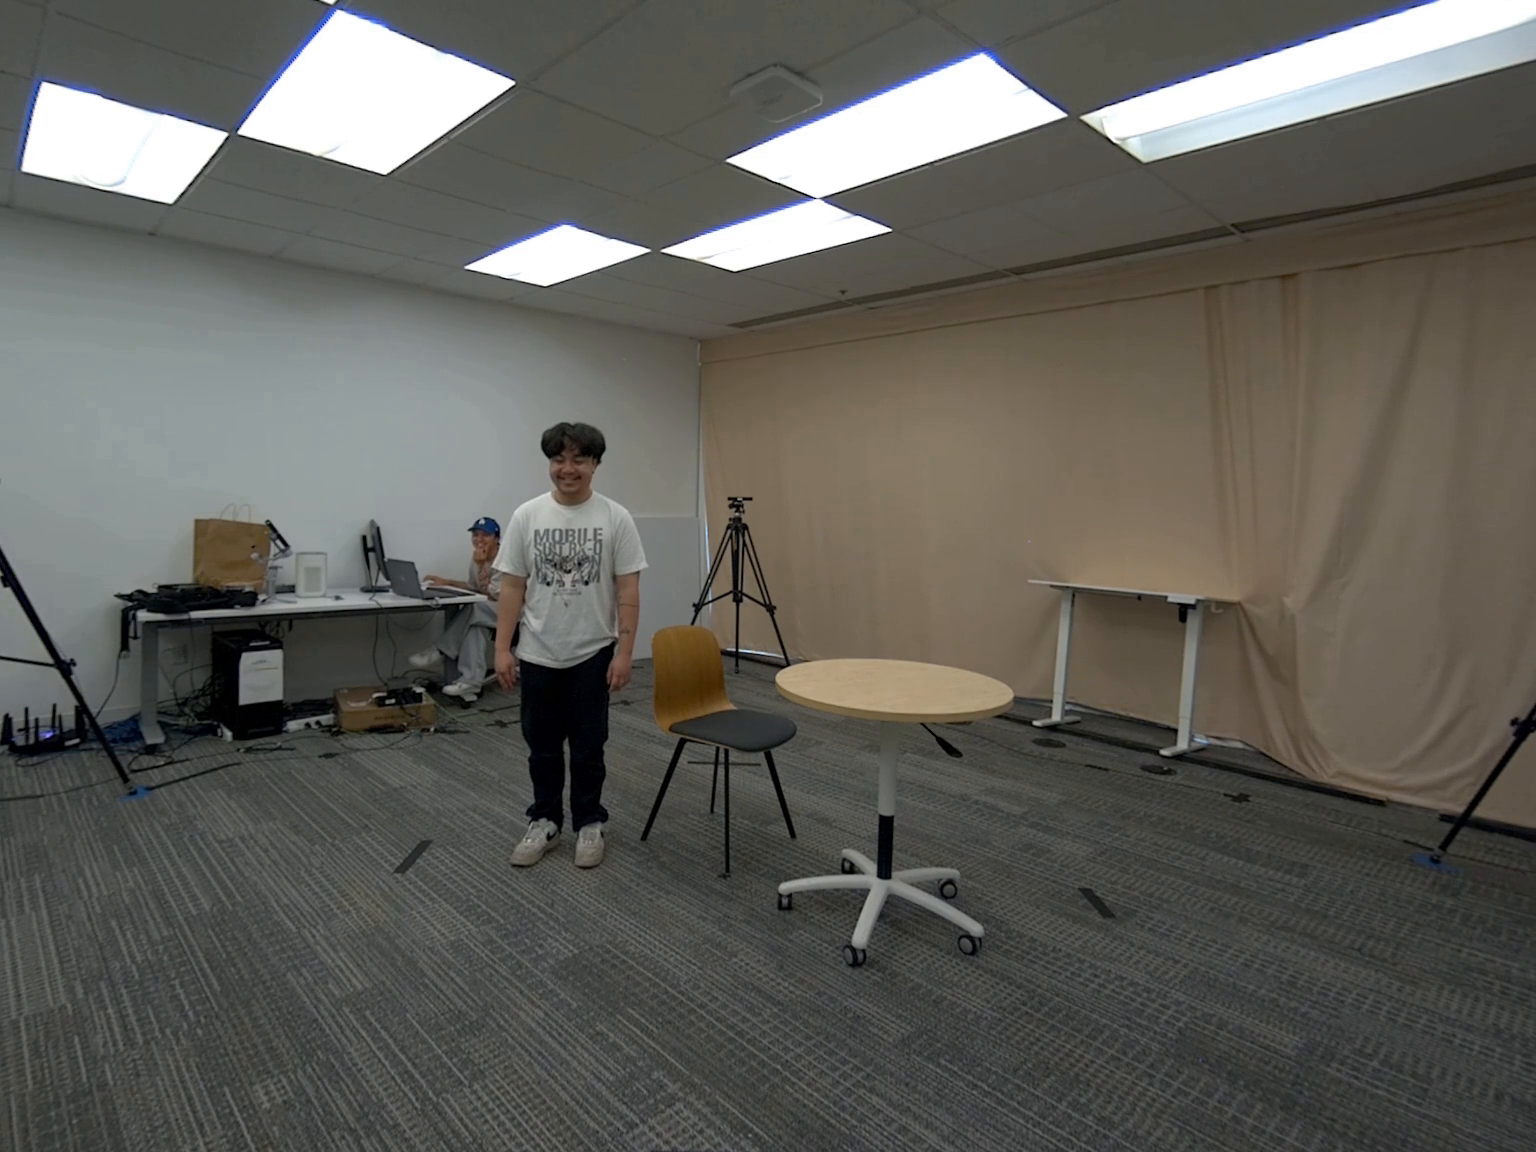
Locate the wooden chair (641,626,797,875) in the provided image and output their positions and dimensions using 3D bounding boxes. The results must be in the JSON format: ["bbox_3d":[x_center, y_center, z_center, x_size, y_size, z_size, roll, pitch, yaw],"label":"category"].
[{"bbox_3d":[-0.191,0.652,3.406,0.535,0.877,0.467,-1,0,38],"label":"wooden chair"}]
